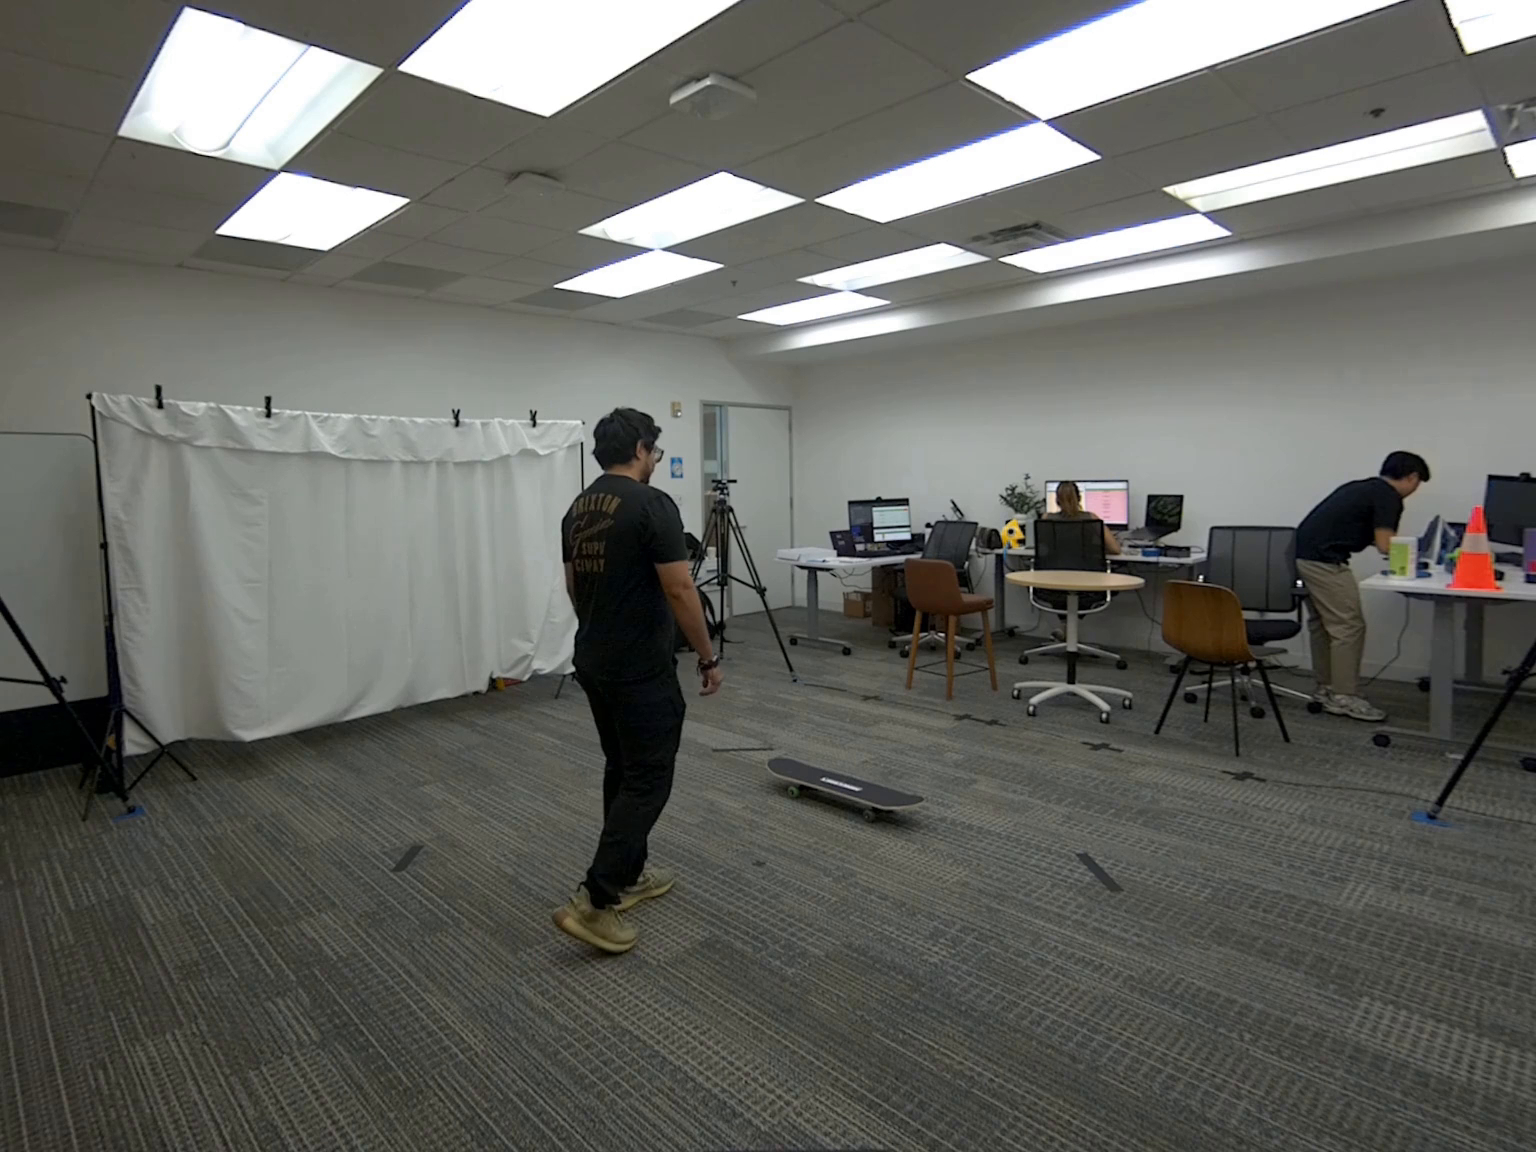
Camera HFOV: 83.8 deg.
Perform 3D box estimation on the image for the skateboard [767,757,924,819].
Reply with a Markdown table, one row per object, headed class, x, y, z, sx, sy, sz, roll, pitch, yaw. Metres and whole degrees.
| class | x | y | z | sx | sy | sz | roll | pitch | yaw |
| --- | --- | --- | --- | --- | --- | --- | --- | --- | --- |
| skateboard | 0.323 | 0.929 | 3.666 | 0.810 | 0.110 | 0.188 | 5 | 8 | 43 |
